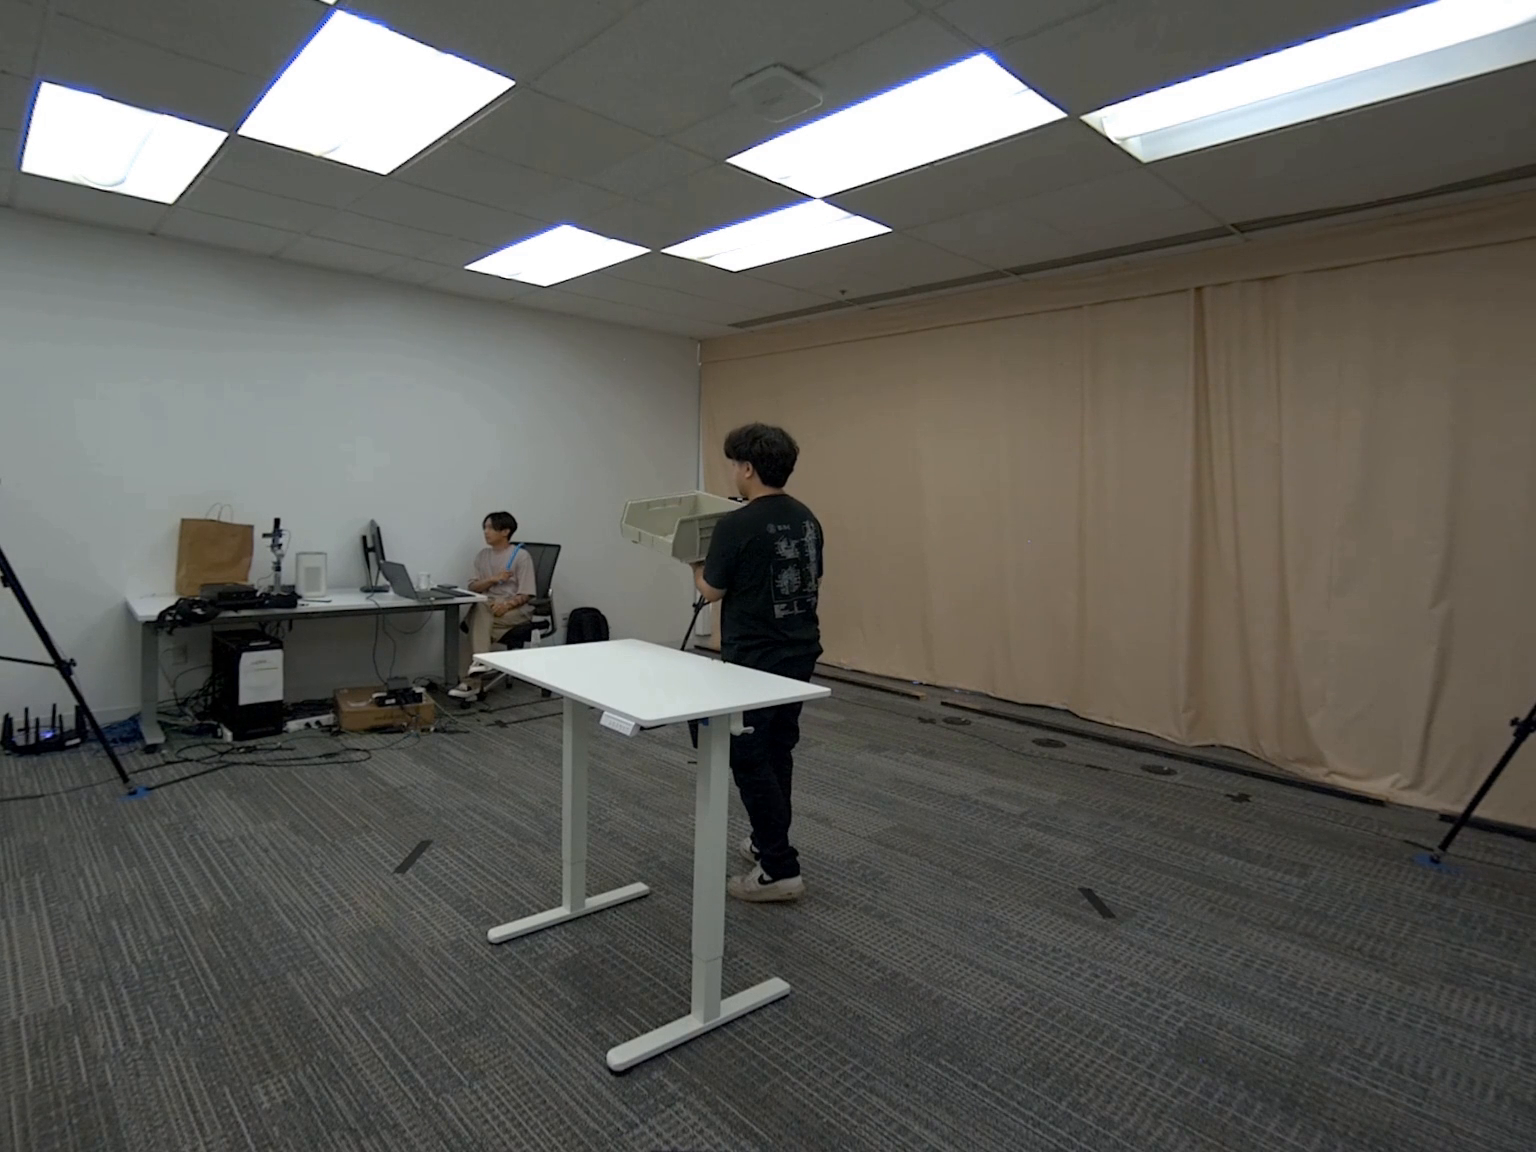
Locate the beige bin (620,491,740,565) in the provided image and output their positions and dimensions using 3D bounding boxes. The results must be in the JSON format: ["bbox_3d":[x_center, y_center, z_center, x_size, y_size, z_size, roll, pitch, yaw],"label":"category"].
[{"bbox_3d":[-0.333,-0.194,3.363,0.370,0.187,0.434,-10,18,-35],"label":"beige bin"}]
